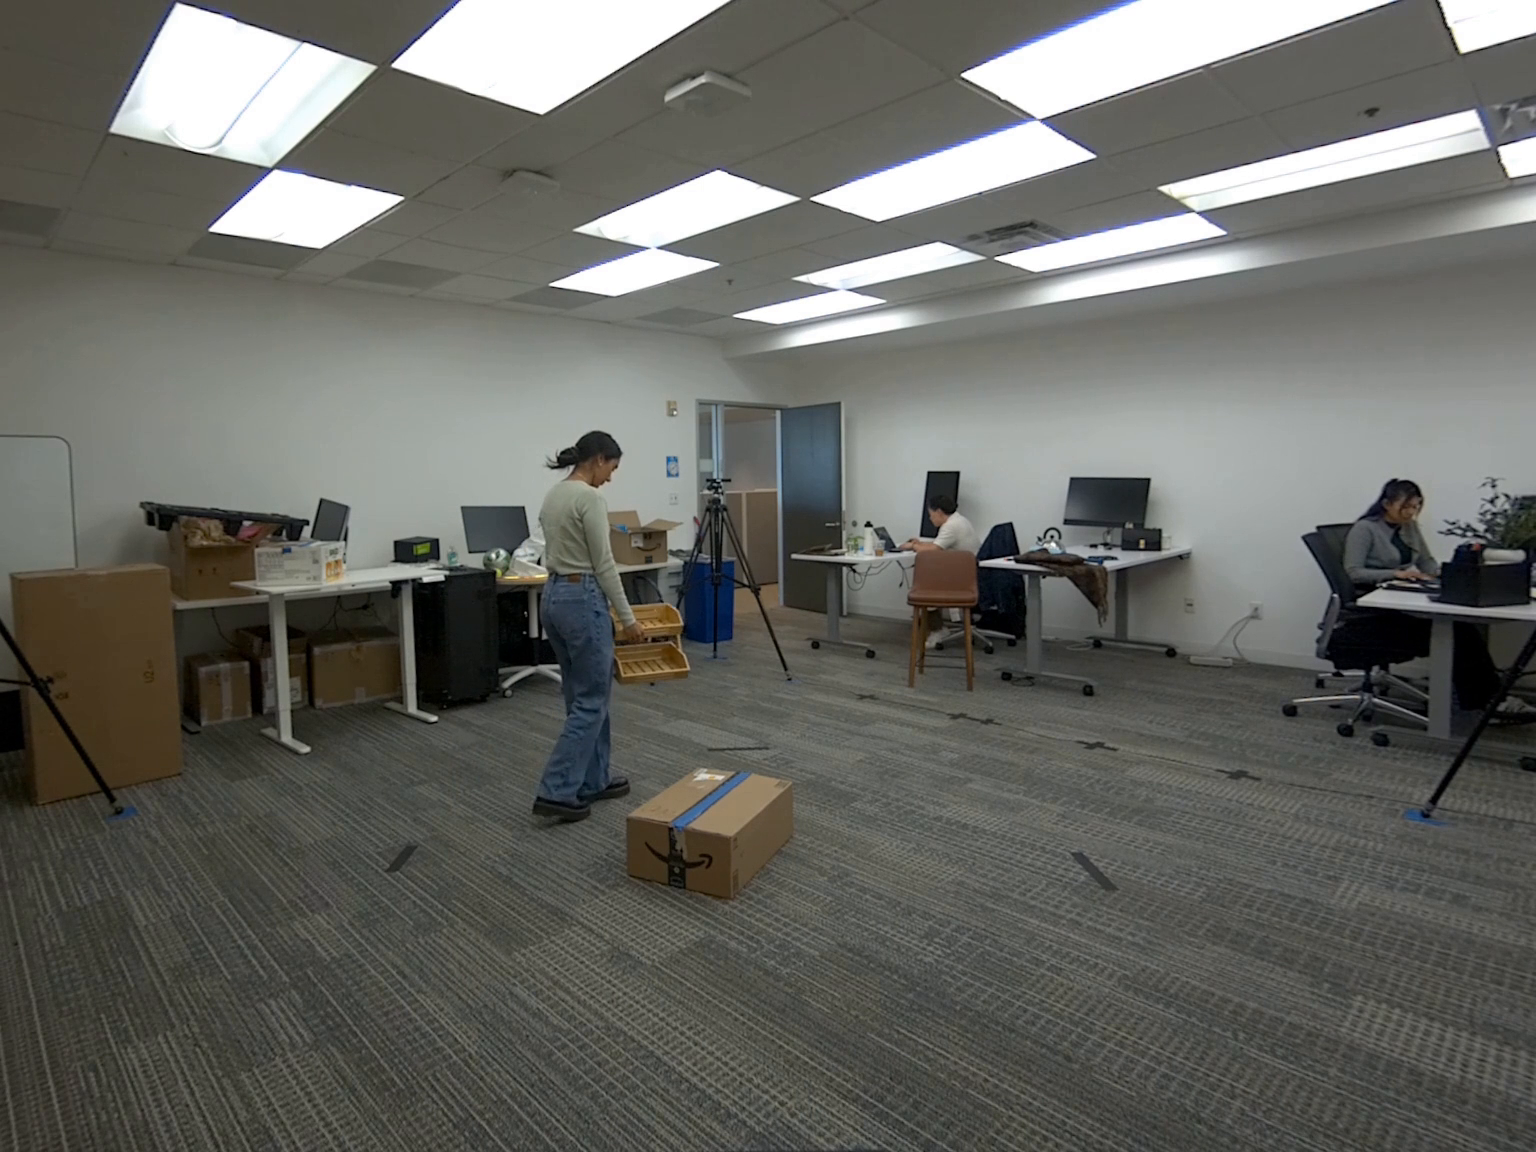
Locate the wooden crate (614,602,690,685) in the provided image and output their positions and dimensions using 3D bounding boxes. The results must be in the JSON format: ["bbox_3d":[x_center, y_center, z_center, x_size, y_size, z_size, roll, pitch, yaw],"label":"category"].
[{"bbox_3d":[-0.525,0.282,3.702,0.318,0.271,0.311,-3,13,-24],"label":"wooden crate"}]
